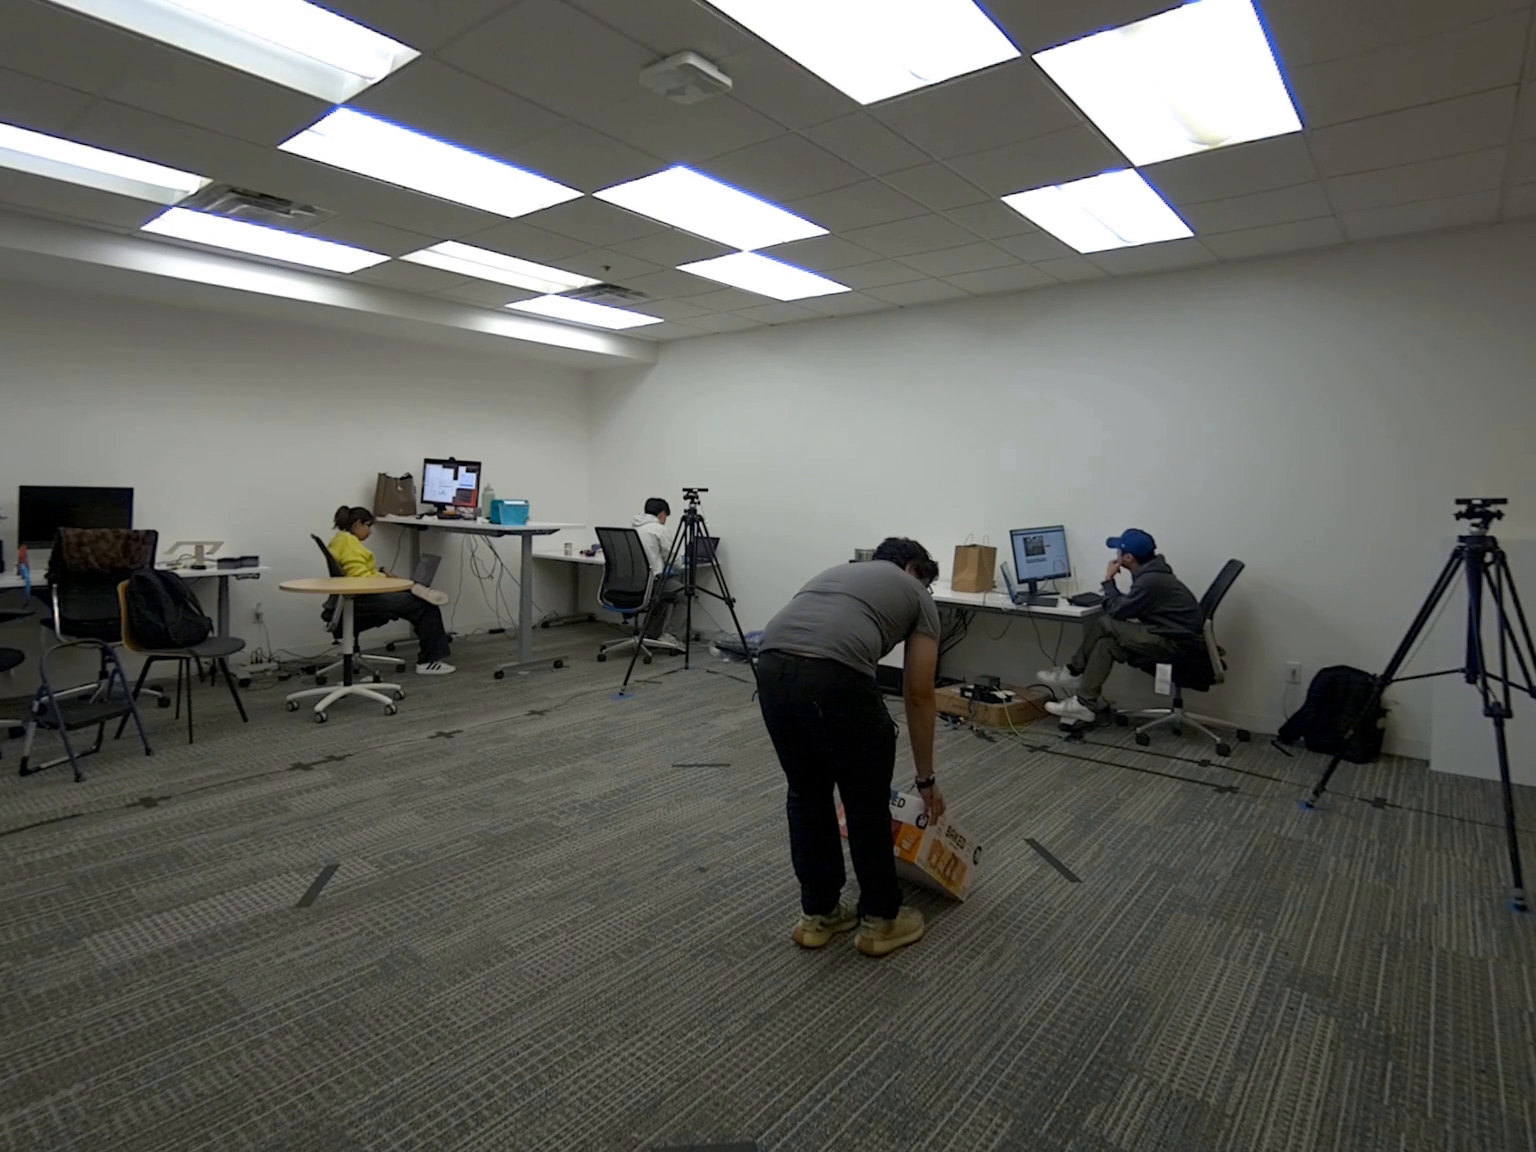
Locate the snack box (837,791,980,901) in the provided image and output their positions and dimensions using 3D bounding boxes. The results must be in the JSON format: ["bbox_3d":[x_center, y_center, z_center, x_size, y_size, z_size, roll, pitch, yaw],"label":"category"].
[{"bbox_3d":[0.477,0.906,2.937,0.352,0.207,0.388,5,-30,43],"label":"snack box"}]
